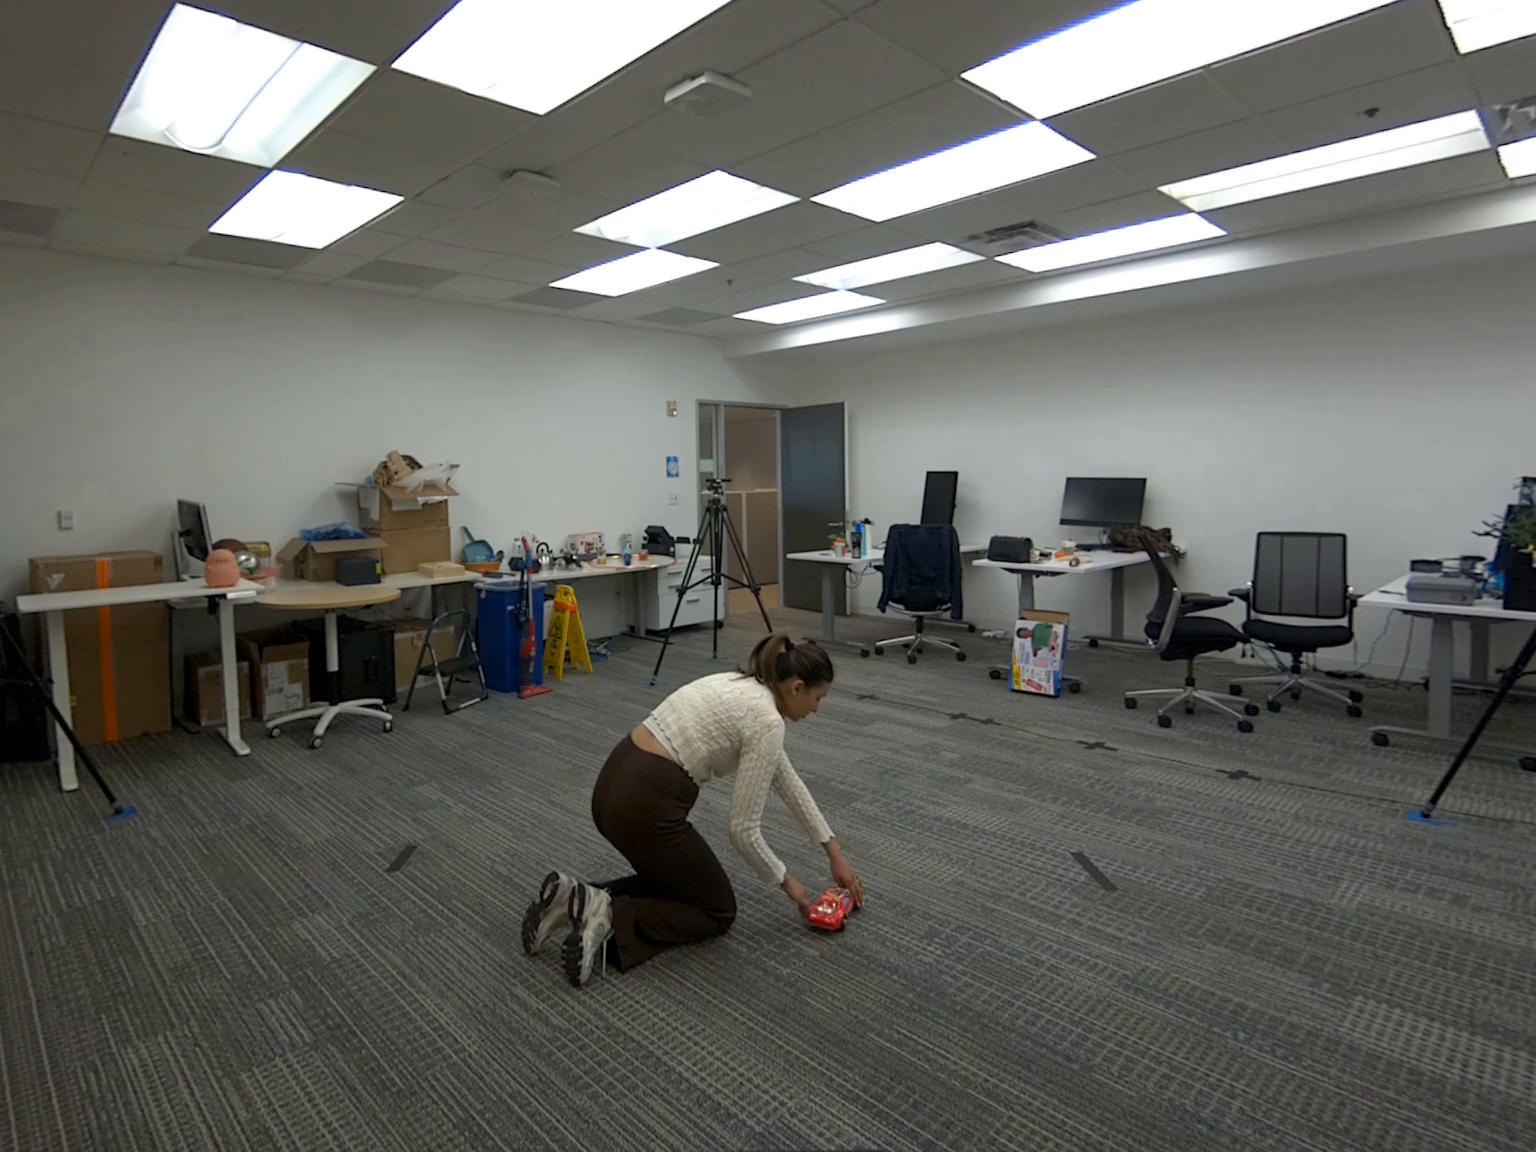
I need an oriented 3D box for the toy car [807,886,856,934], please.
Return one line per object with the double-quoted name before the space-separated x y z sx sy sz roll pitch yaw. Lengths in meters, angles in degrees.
"toy car" 0.207 1.052 2.703 0.133 0.083 0.247 4 -2 26
